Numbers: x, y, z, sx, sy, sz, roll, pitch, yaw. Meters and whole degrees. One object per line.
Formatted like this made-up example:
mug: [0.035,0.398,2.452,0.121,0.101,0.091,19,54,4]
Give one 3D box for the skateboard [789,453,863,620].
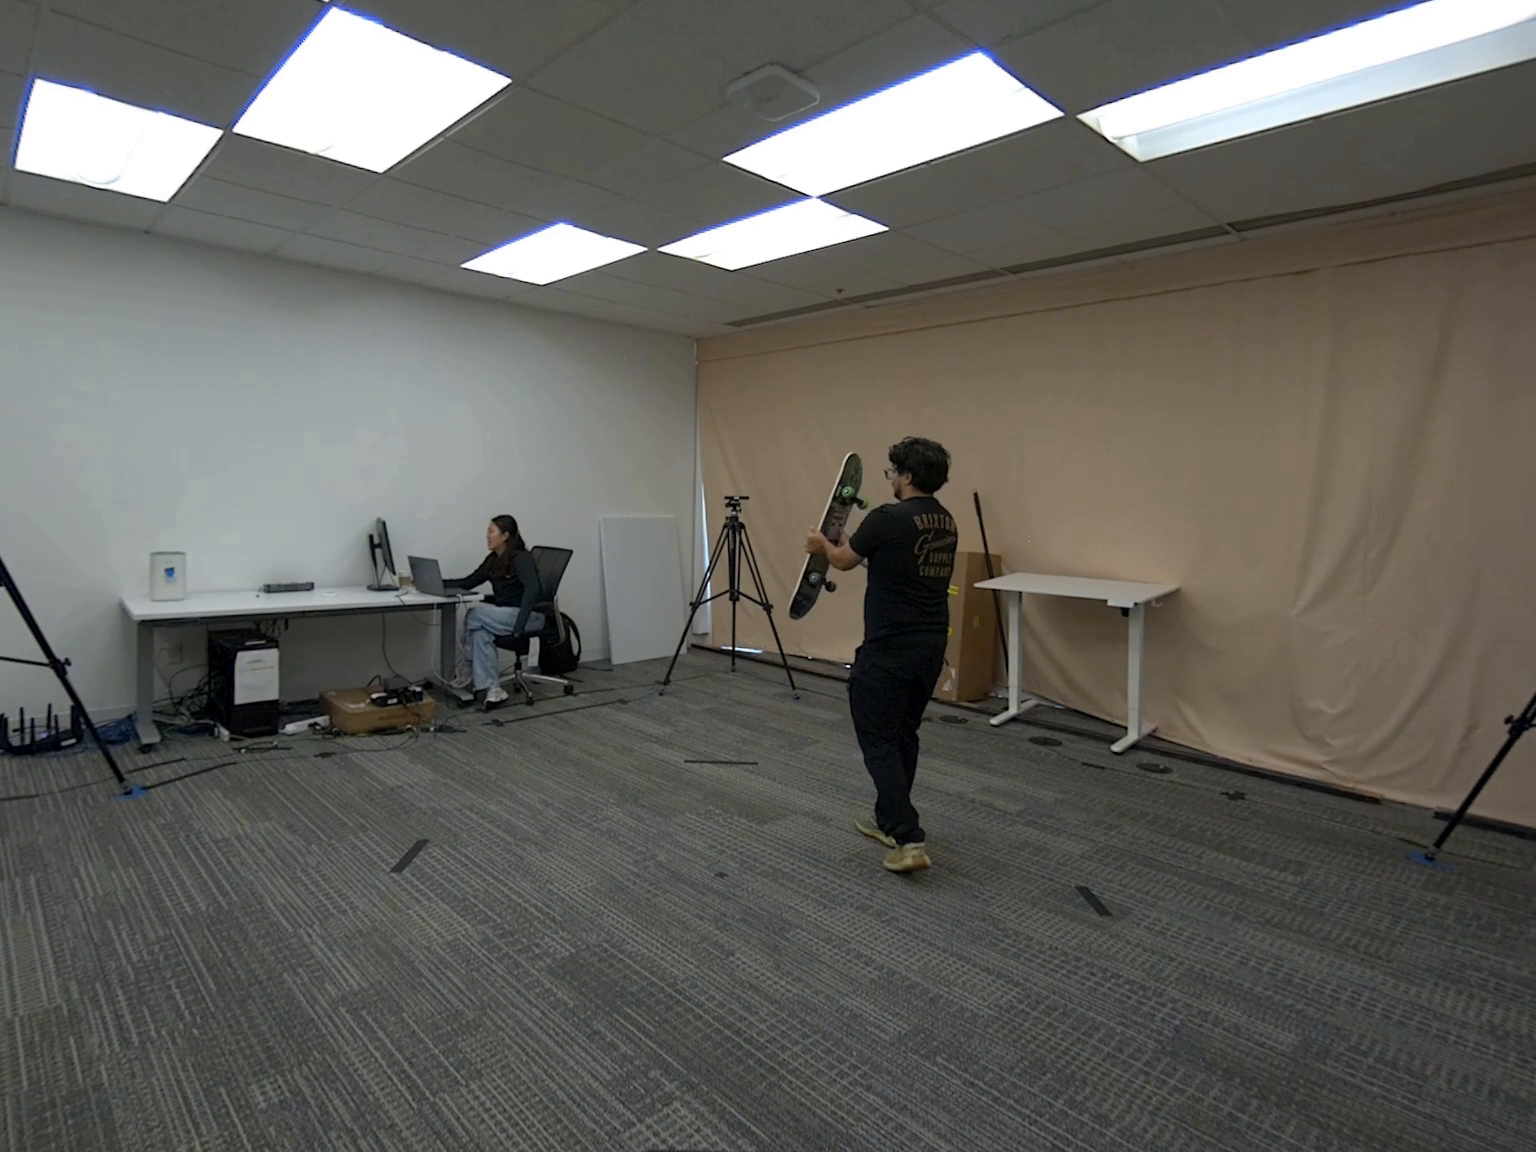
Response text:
skateboard: [0.282,-0.159,3.694,0.113,0.787,0.188,17,-6,36]
